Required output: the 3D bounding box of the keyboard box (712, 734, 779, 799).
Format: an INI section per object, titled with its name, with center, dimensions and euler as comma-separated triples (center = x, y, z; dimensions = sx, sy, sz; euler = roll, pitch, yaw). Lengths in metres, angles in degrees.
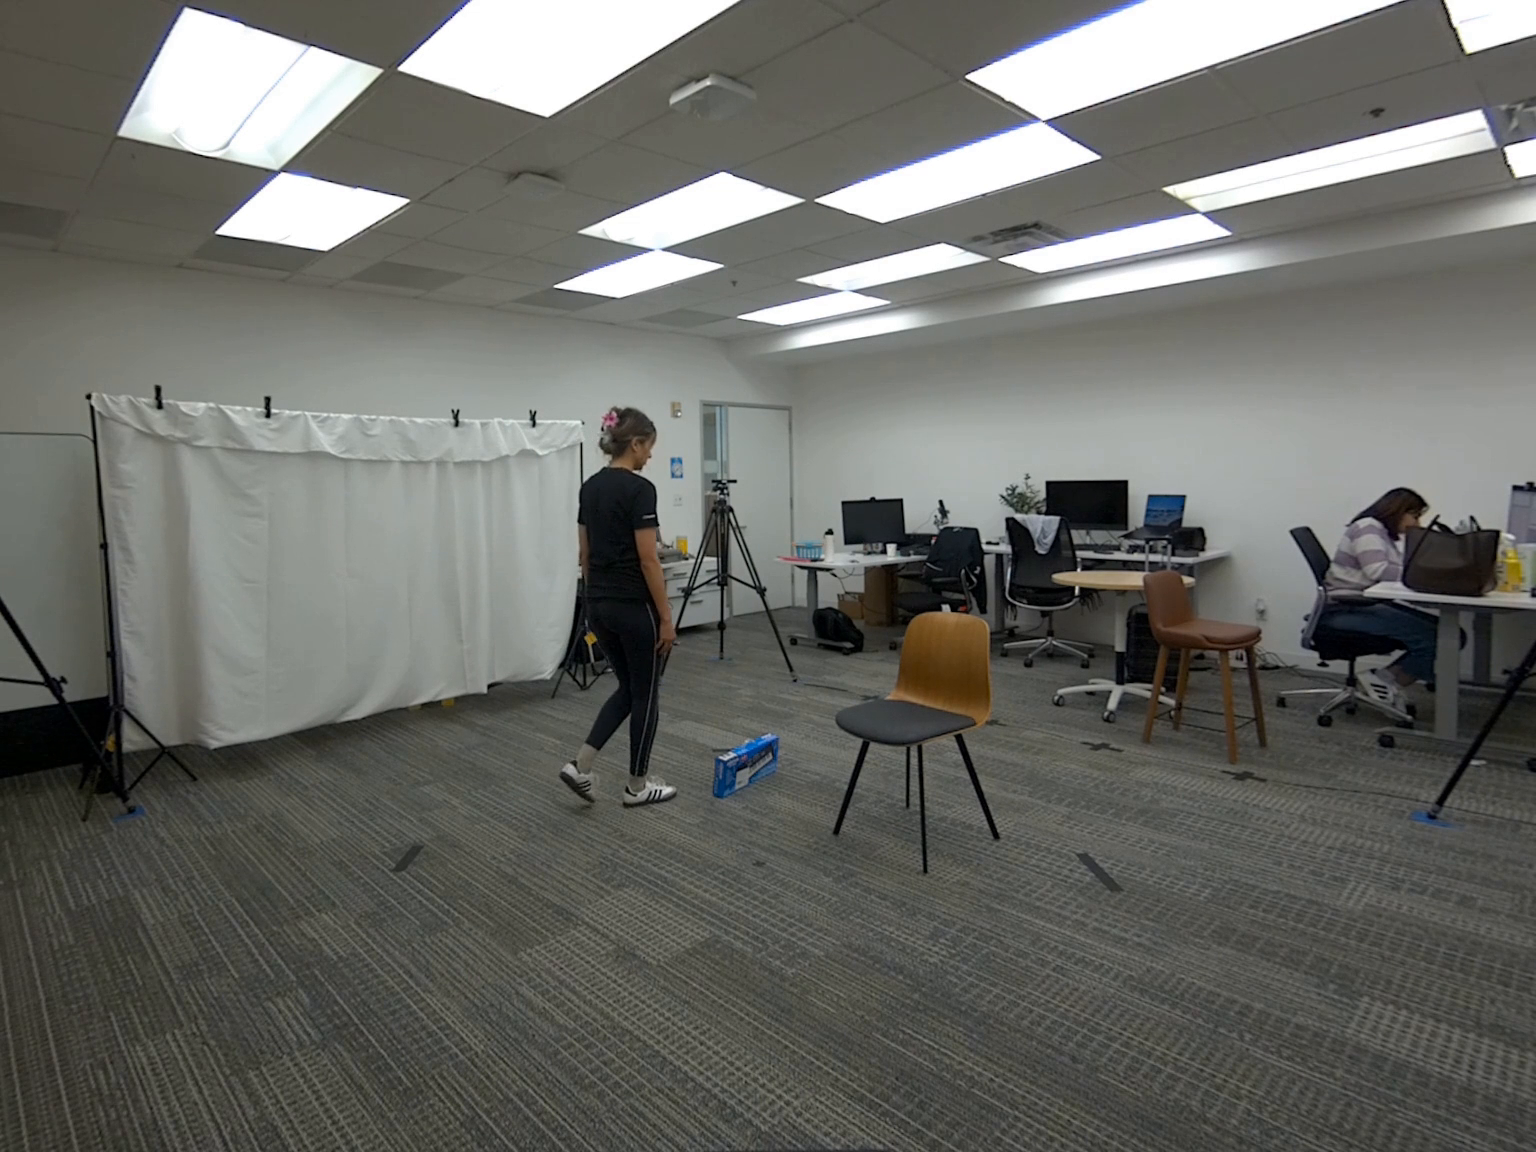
[keyboard box]
center = -0.096, 0.871, 3.940
dimensions = 0.061, 0.175, 0.426
euler = 9, 10, 33
